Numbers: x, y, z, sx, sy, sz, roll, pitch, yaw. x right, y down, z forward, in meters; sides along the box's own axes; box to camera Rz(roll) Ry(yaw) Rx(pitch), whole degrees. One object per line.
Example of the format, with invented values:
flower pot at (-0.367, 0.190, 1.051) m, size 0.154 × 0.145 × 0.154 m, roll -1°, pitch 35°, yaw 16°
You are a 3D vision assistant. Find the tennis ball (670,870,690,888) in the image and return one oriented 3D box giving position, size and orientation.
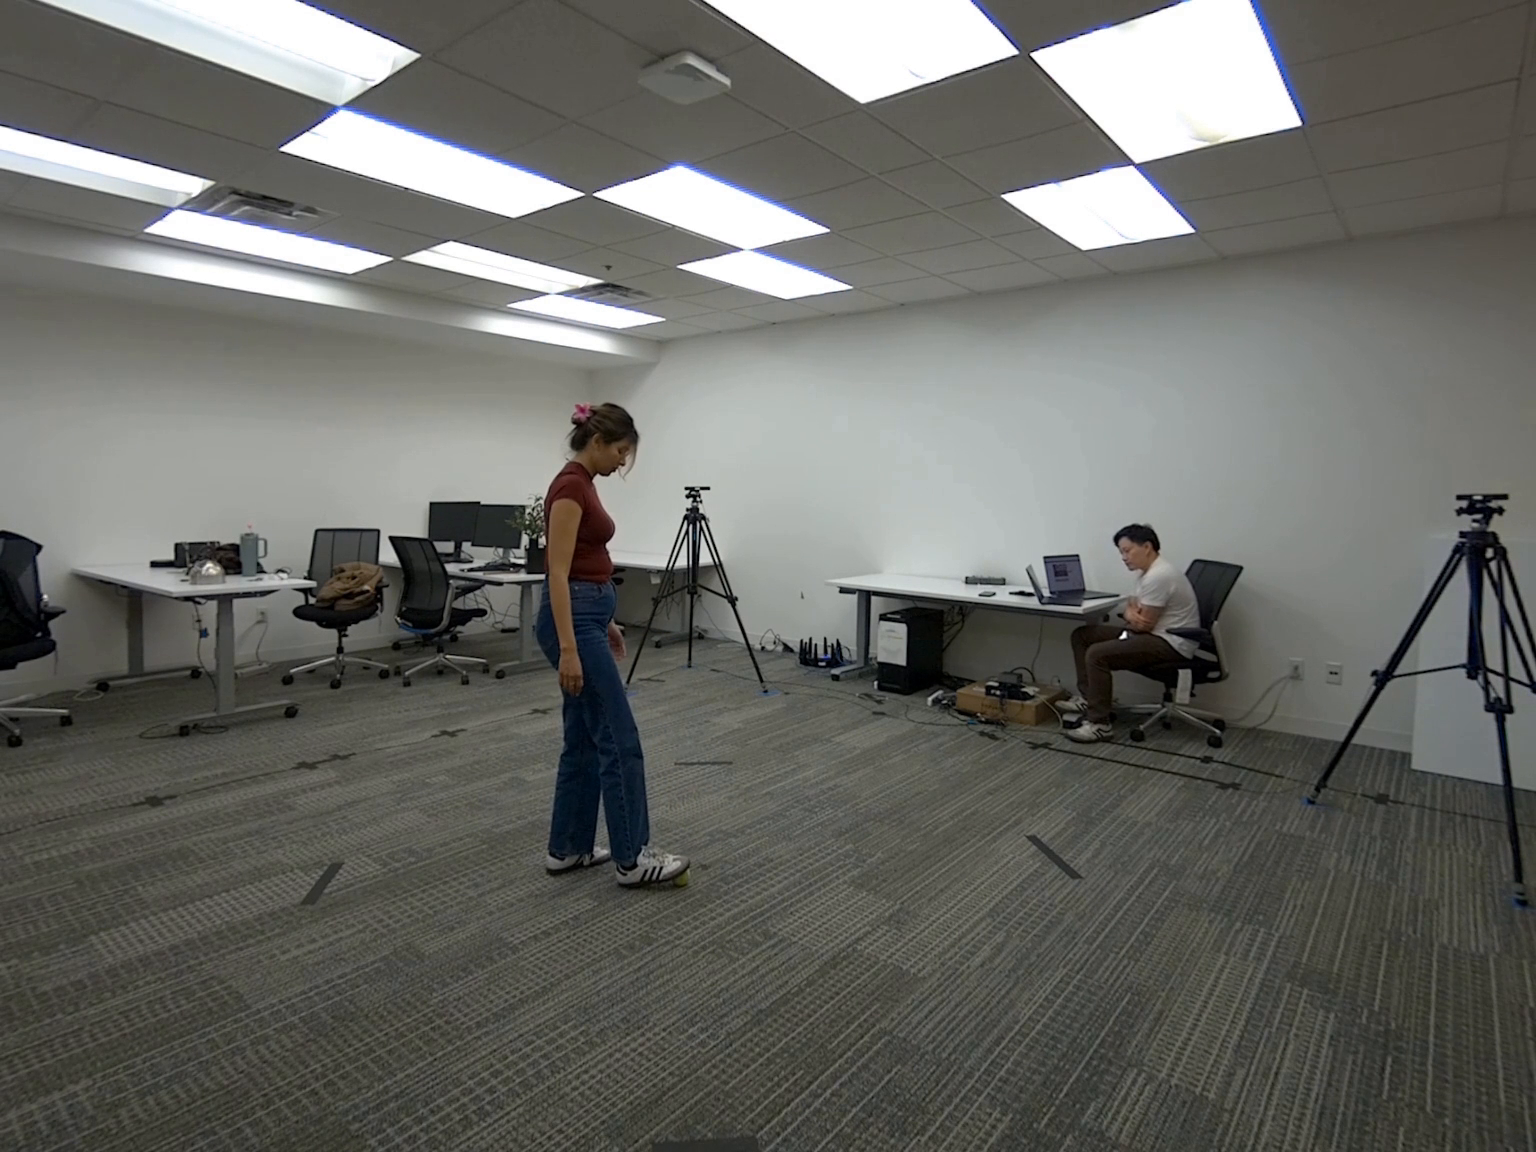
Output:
tennis ball at (-0.313, 1.044, 2.969) m, size 0.066 × 0.066 × 0.067 m, roll 1°, pitch 4°, yaw -2°
